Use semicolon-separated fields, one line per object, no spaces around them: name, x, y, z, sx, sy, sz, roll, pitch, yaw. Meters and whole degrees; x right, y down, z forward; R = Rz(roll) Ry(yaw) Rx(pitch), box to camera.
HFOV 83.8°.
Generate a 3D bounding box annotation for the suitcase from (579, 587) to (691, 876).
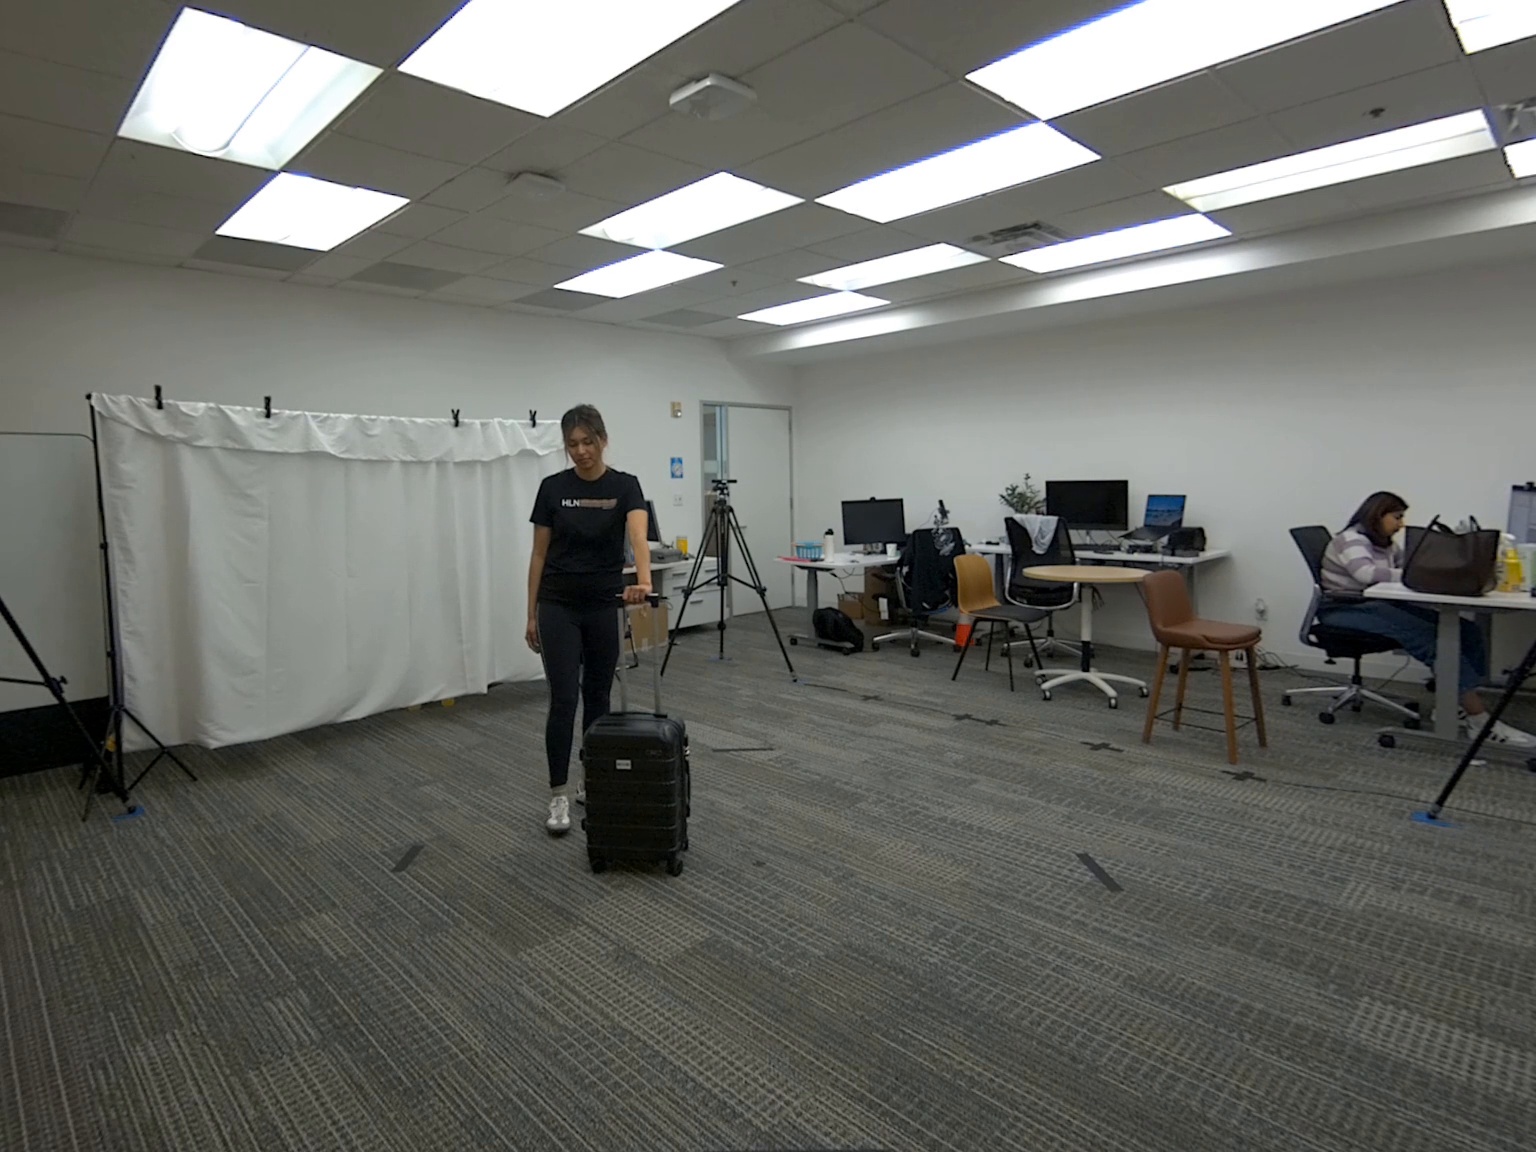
suitcase;-0.480;0.578;3.101;0.386;0.972;0.257;0;7;5
